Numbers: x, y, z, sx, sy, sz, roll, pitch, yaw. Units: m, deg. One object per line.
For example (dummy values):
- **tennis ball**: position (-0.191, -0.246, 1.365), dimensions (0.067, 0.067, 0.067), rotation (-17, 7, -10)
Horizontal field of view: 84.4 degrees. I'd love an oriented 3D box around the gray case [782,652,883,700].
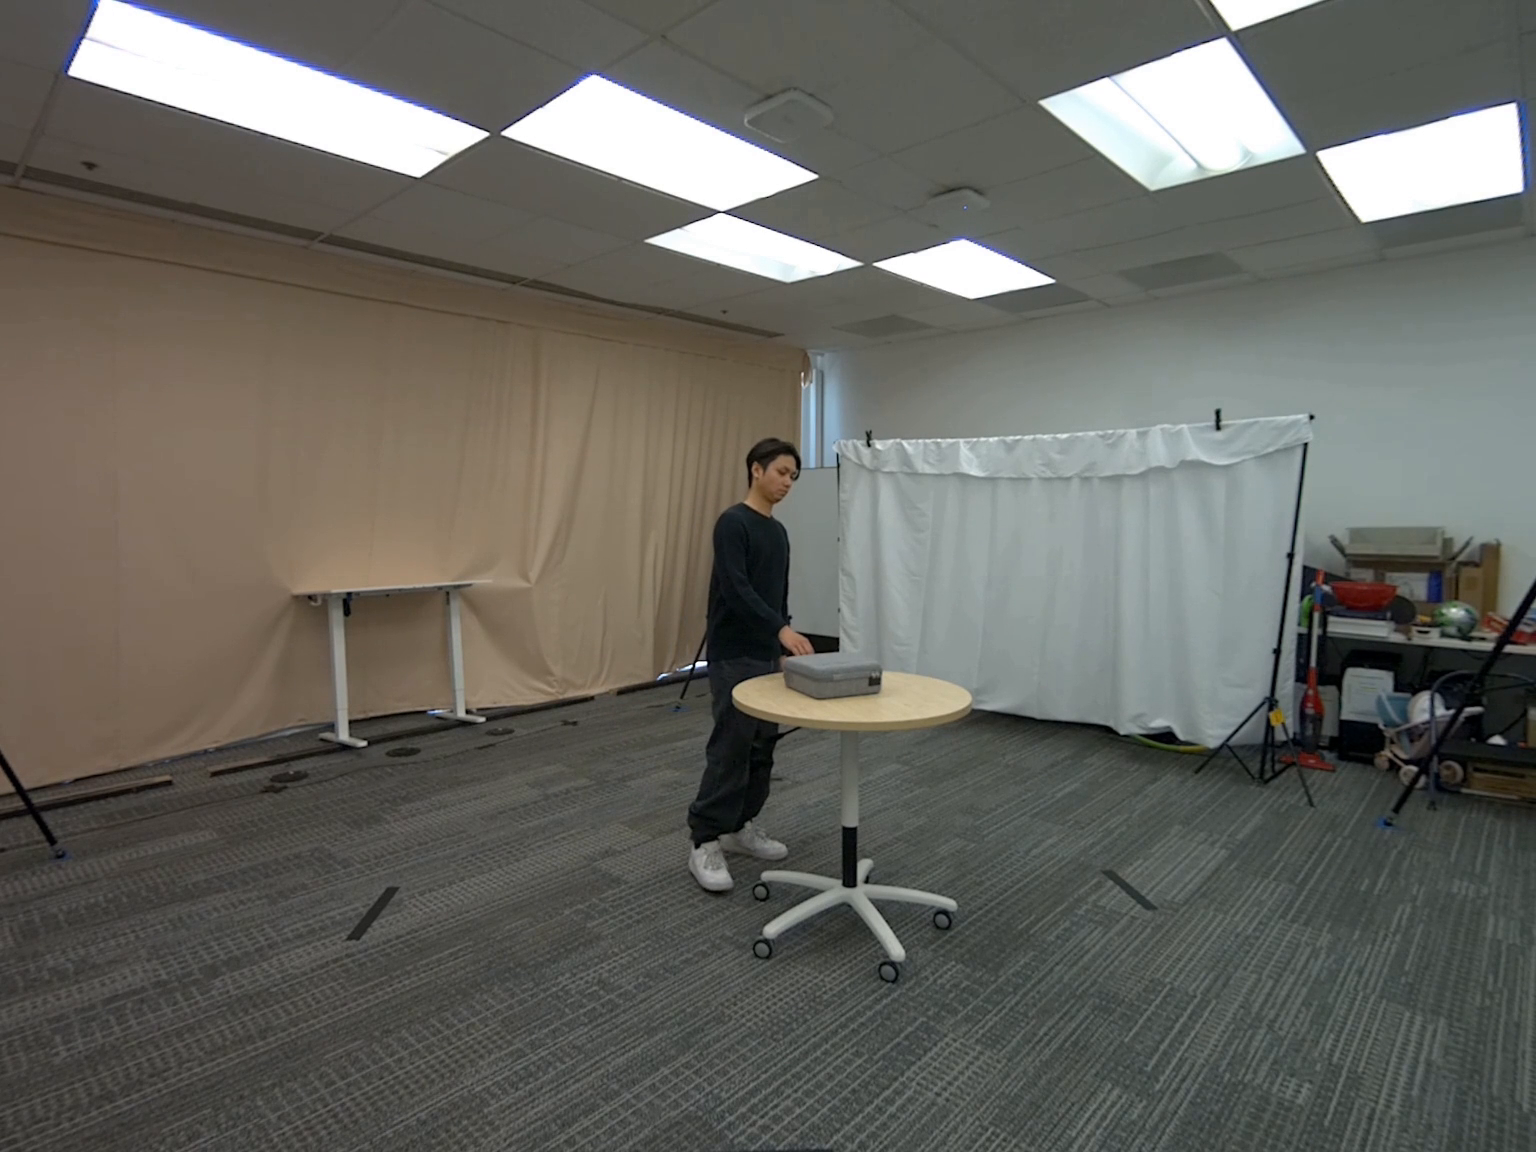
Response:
- **gray case**: position (0.211, 0.323, 2.777), dimensions (0.251, 0.104, 0.267), rotation (-3, 5, -23)
